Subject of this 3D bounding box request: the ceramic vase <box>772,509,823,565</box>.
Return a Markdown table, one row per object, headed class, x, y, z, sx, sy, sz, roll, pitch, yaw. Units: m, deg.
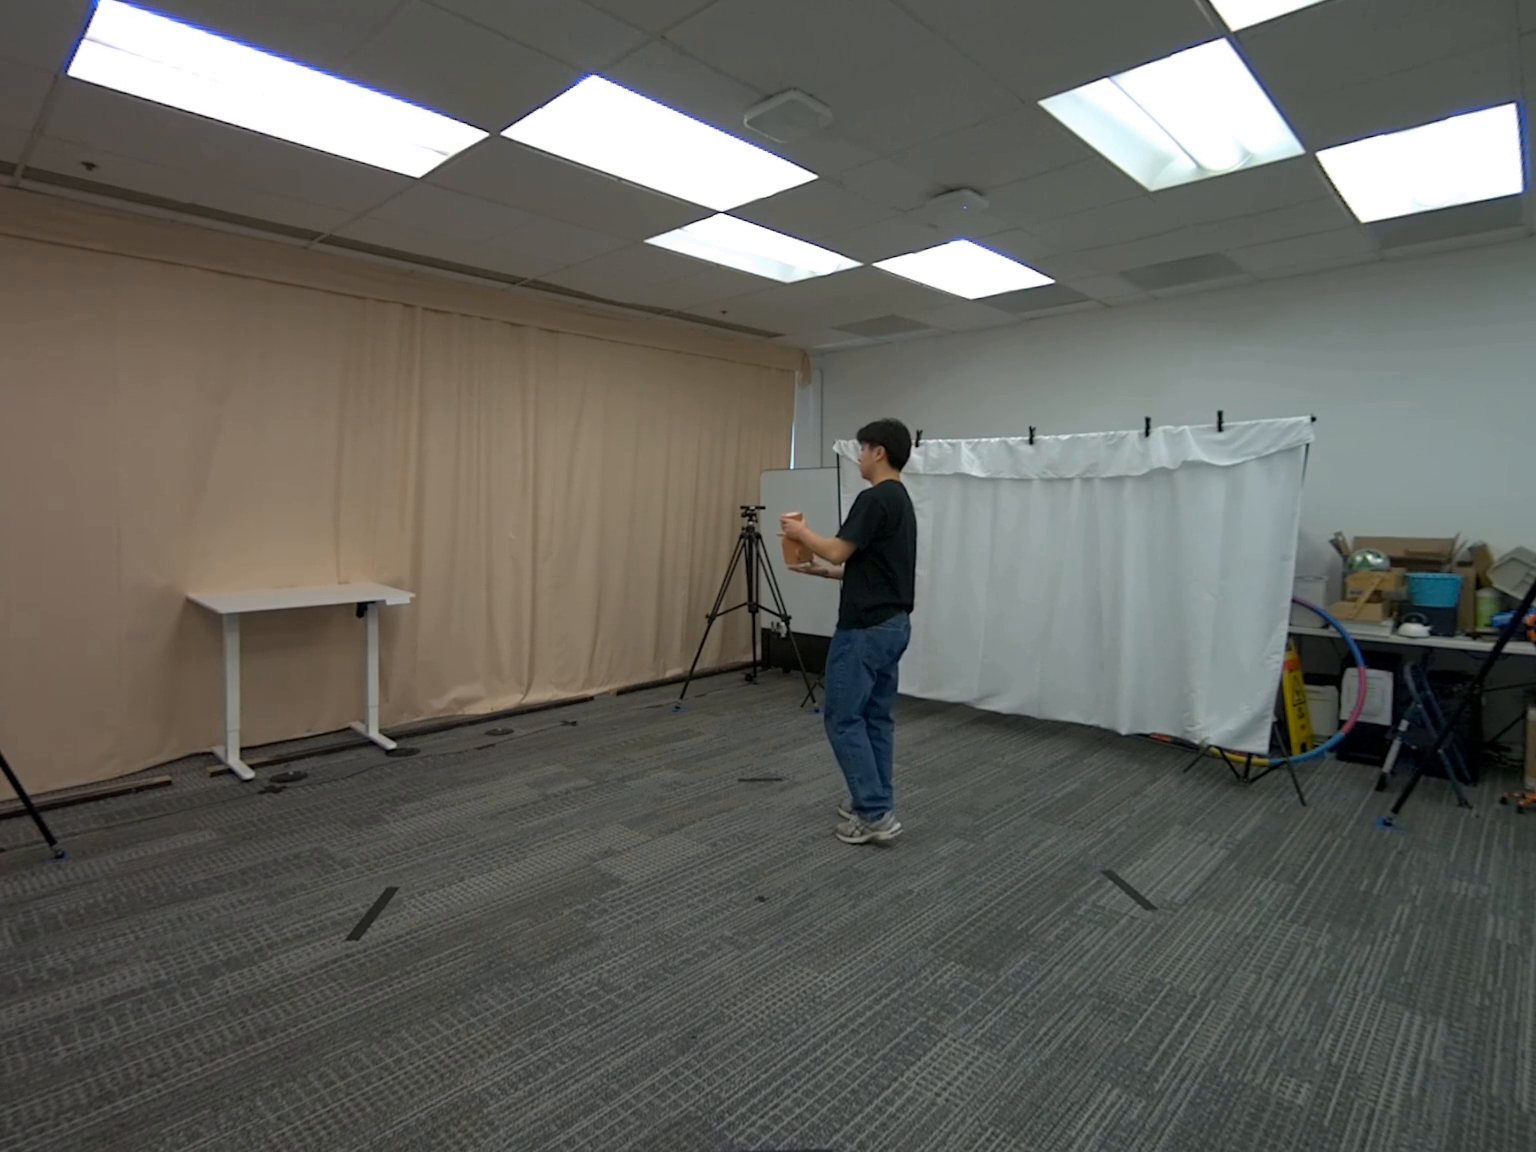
| class | x | y | z | sx | sy | sz | roll | pitch | yaw |
| --- | --- | --- | --- | --- | --- | --- | --- | --- | --- |
| ceramic vase | 0.139 | -0.173 | 3.775 | 0.132 | 0.217 | 0.164 | -22 | 18 | -34 |
